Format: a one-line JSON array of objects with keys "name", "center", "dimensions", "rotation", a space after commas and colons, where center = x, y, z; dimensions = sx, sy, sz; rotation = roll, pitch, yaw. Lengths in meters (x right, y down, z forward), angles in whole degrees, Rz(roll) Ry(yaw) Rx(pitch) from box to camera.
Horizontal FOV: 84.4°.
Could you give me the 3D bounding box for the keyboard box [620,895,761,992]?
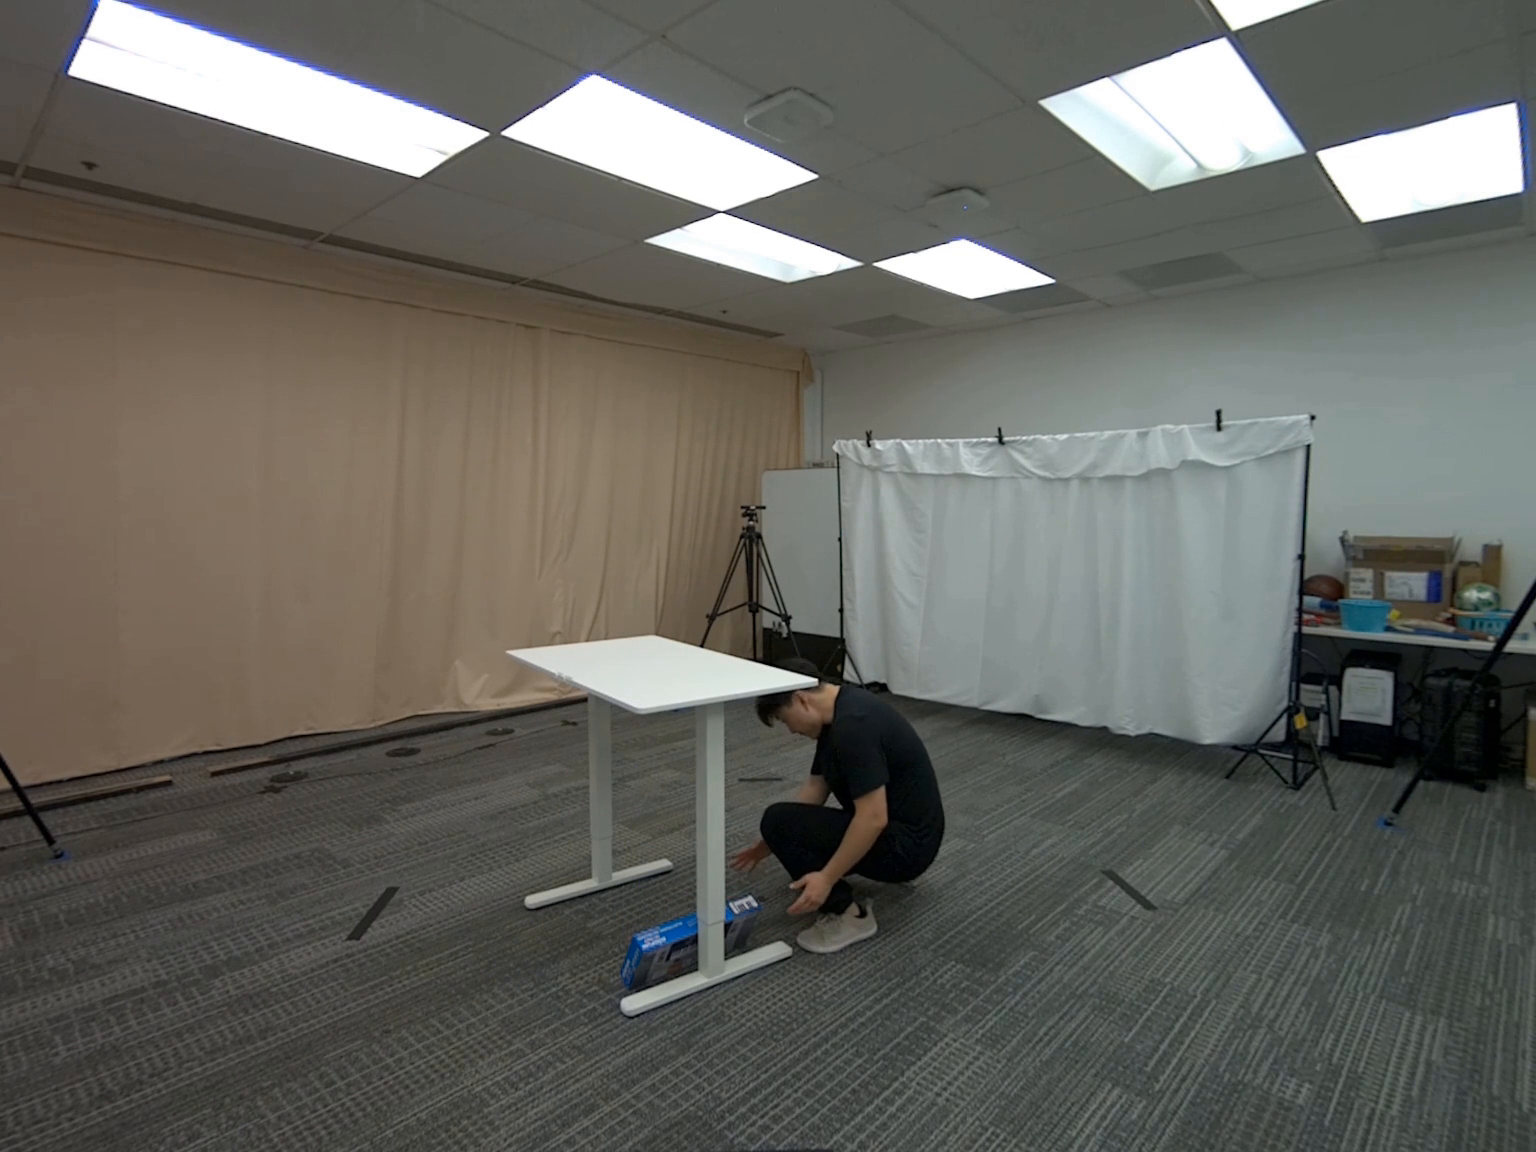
[{"name": "keyboard box", "center": [-0.224, 1.105, 2.529], "dimensions": [0.424, 0.175, 0.061], "rotation": [-3, 32, -38]}]
